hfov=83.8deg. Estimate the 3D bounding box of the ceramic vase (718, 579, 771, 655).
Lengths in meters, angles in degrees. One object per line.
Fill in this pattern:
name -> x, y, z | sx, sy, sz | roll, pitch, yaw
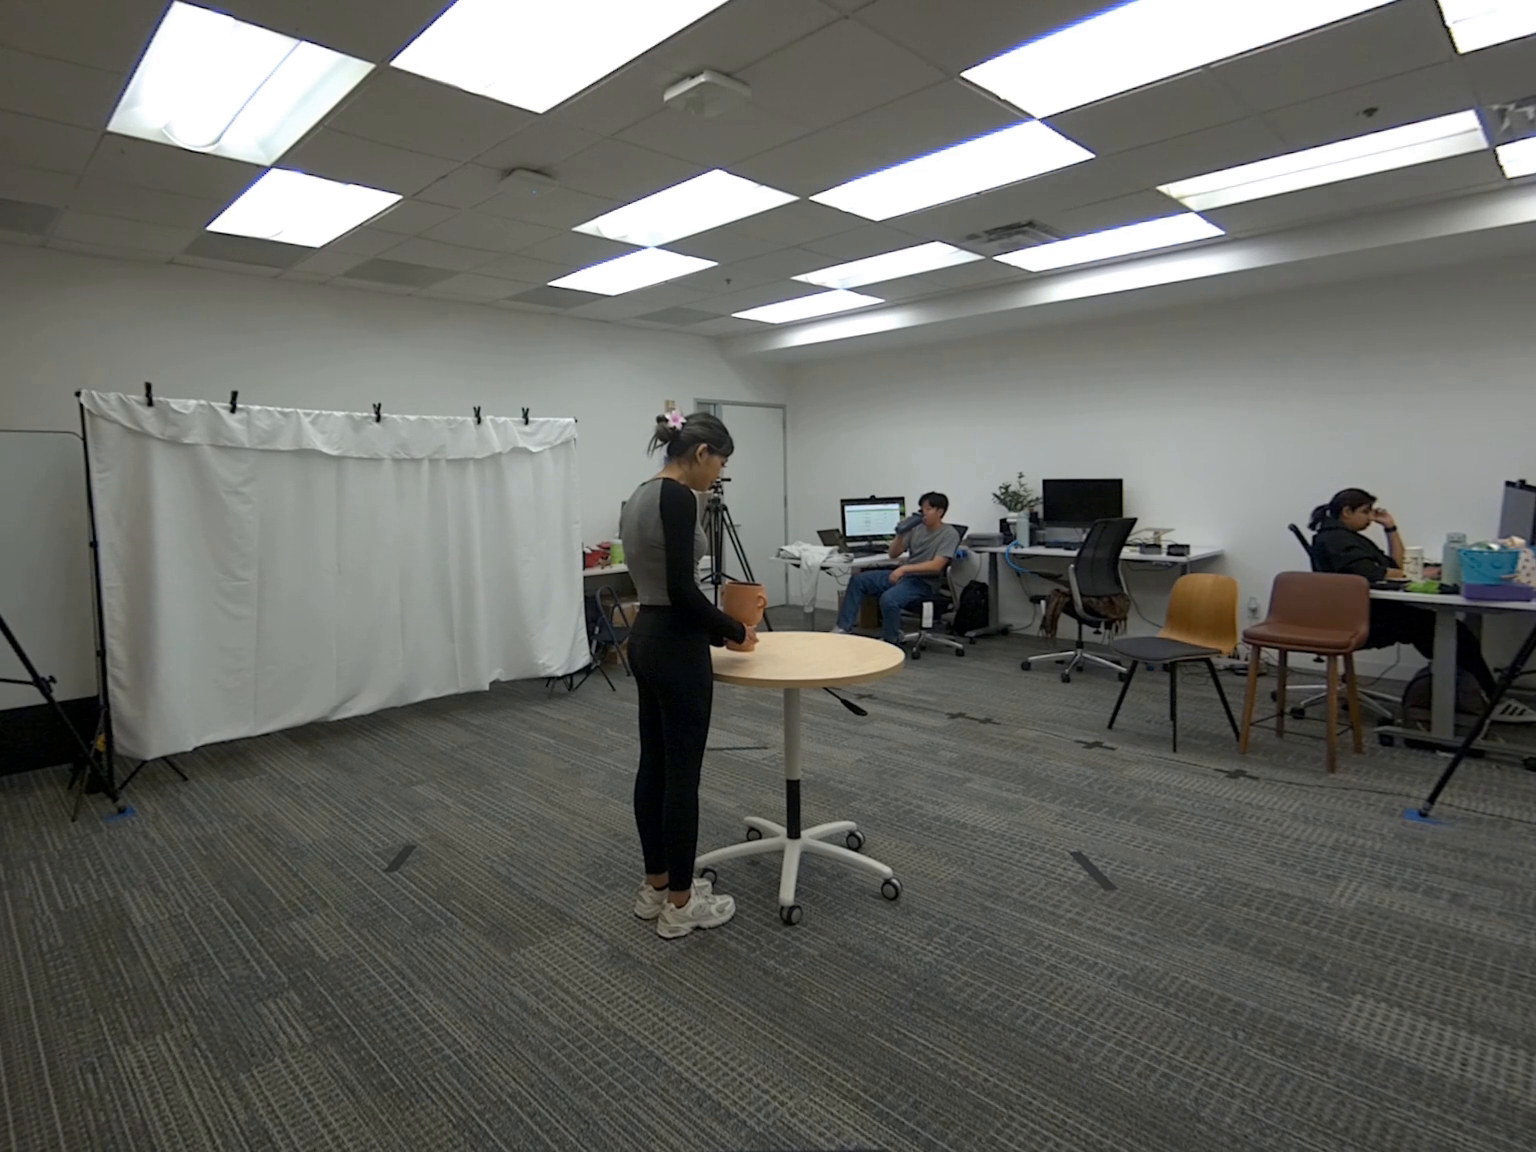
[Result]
ceramic vase -> -0.087, 0.132, 2.838 | 0.133, 0.219, 0.161 | 4, 4, -12
